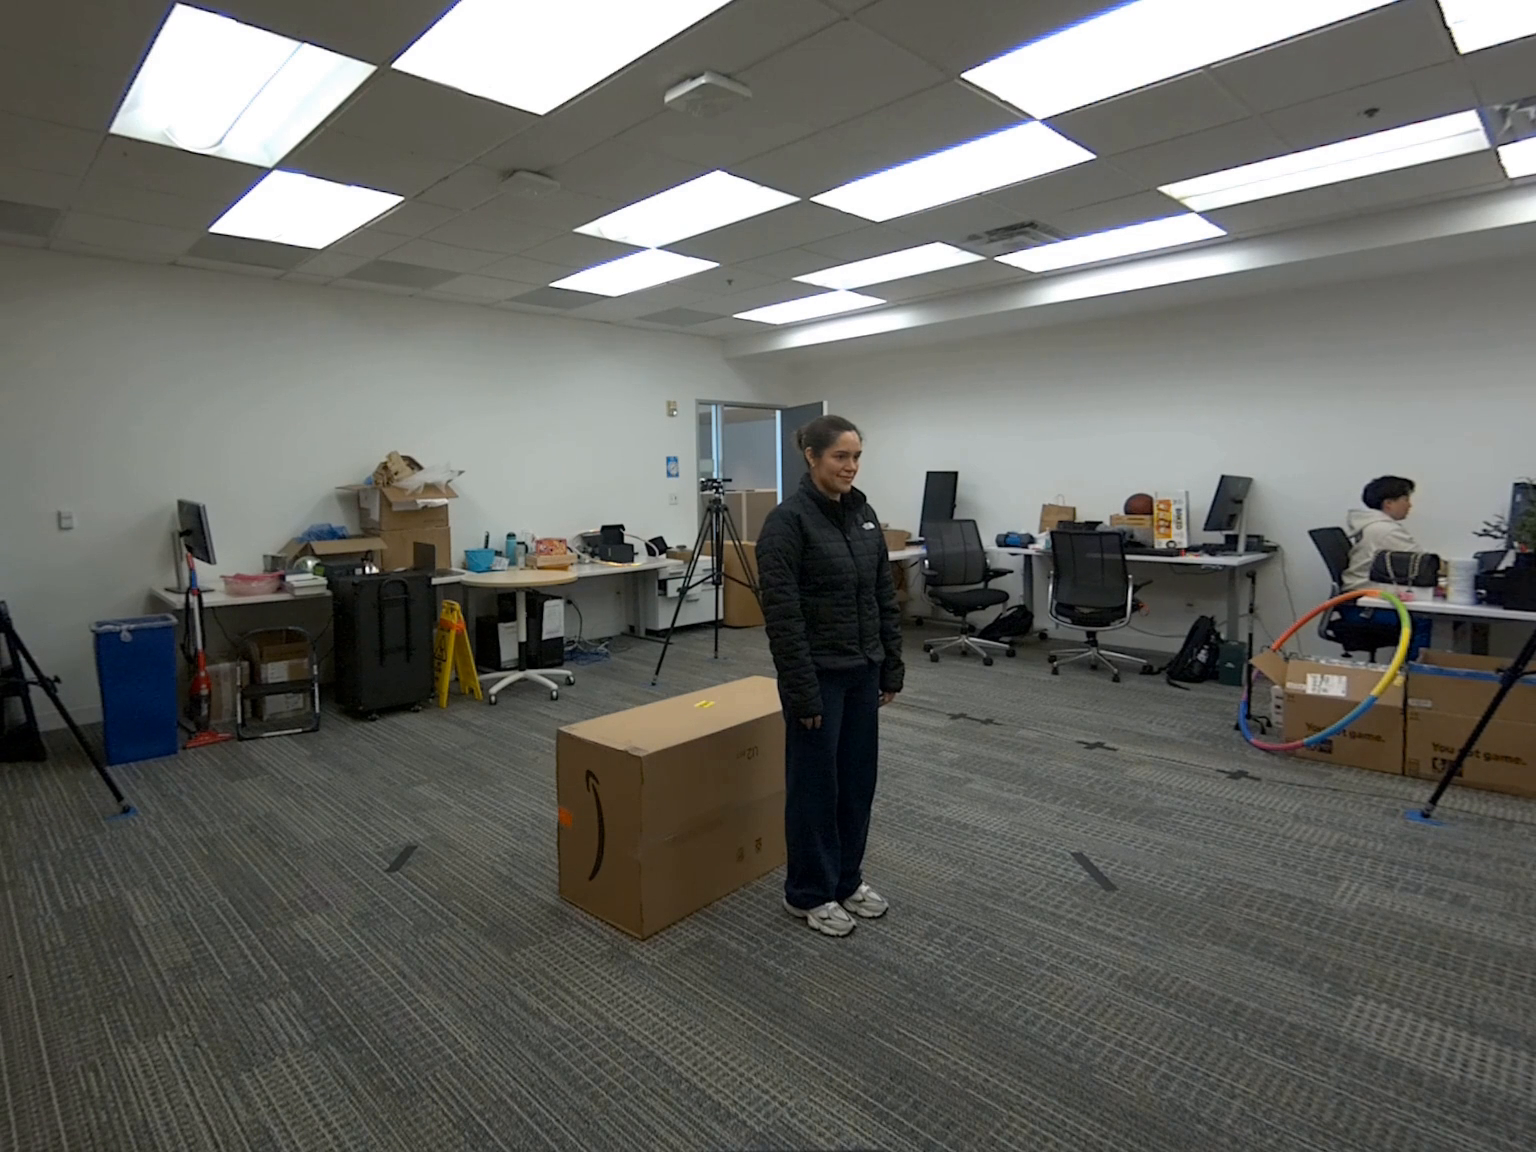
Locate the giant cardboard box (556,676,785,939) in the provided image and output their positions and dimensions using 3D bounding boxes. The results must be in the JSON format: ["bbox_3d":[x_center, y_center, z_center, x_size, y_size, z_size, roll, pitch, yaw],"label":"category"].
[{"bbox_3d":[-0.223,0.763,3.101,0.439,0.575,0.999,5,8,41],"label":"giant cardboard box"}]
